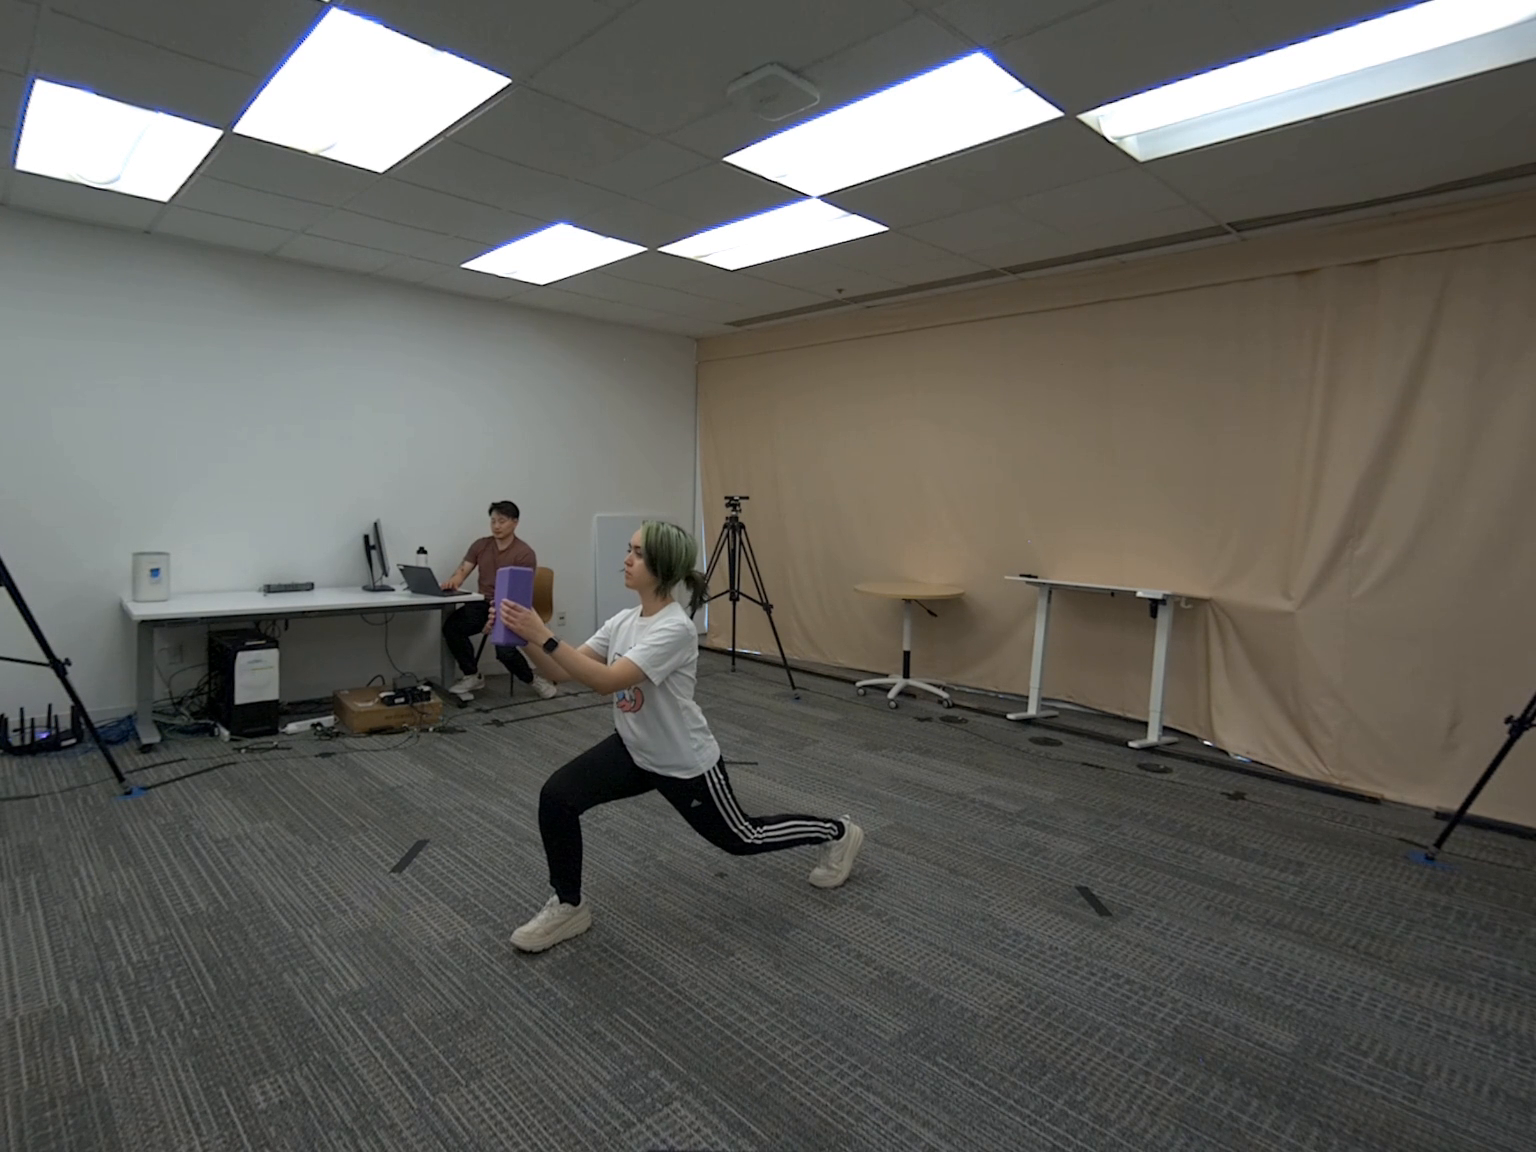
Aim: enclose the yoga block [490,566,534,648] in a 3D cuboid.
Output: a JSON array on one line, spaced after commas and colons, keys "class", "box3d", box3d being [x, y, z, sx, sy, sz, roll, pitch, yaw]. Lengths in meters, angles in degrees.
[{"class": "yoga block", "box3d": [-0.770, 0.096, 2.500, 0.075, 0.230, 0.151, 3, -6, -31]}]
